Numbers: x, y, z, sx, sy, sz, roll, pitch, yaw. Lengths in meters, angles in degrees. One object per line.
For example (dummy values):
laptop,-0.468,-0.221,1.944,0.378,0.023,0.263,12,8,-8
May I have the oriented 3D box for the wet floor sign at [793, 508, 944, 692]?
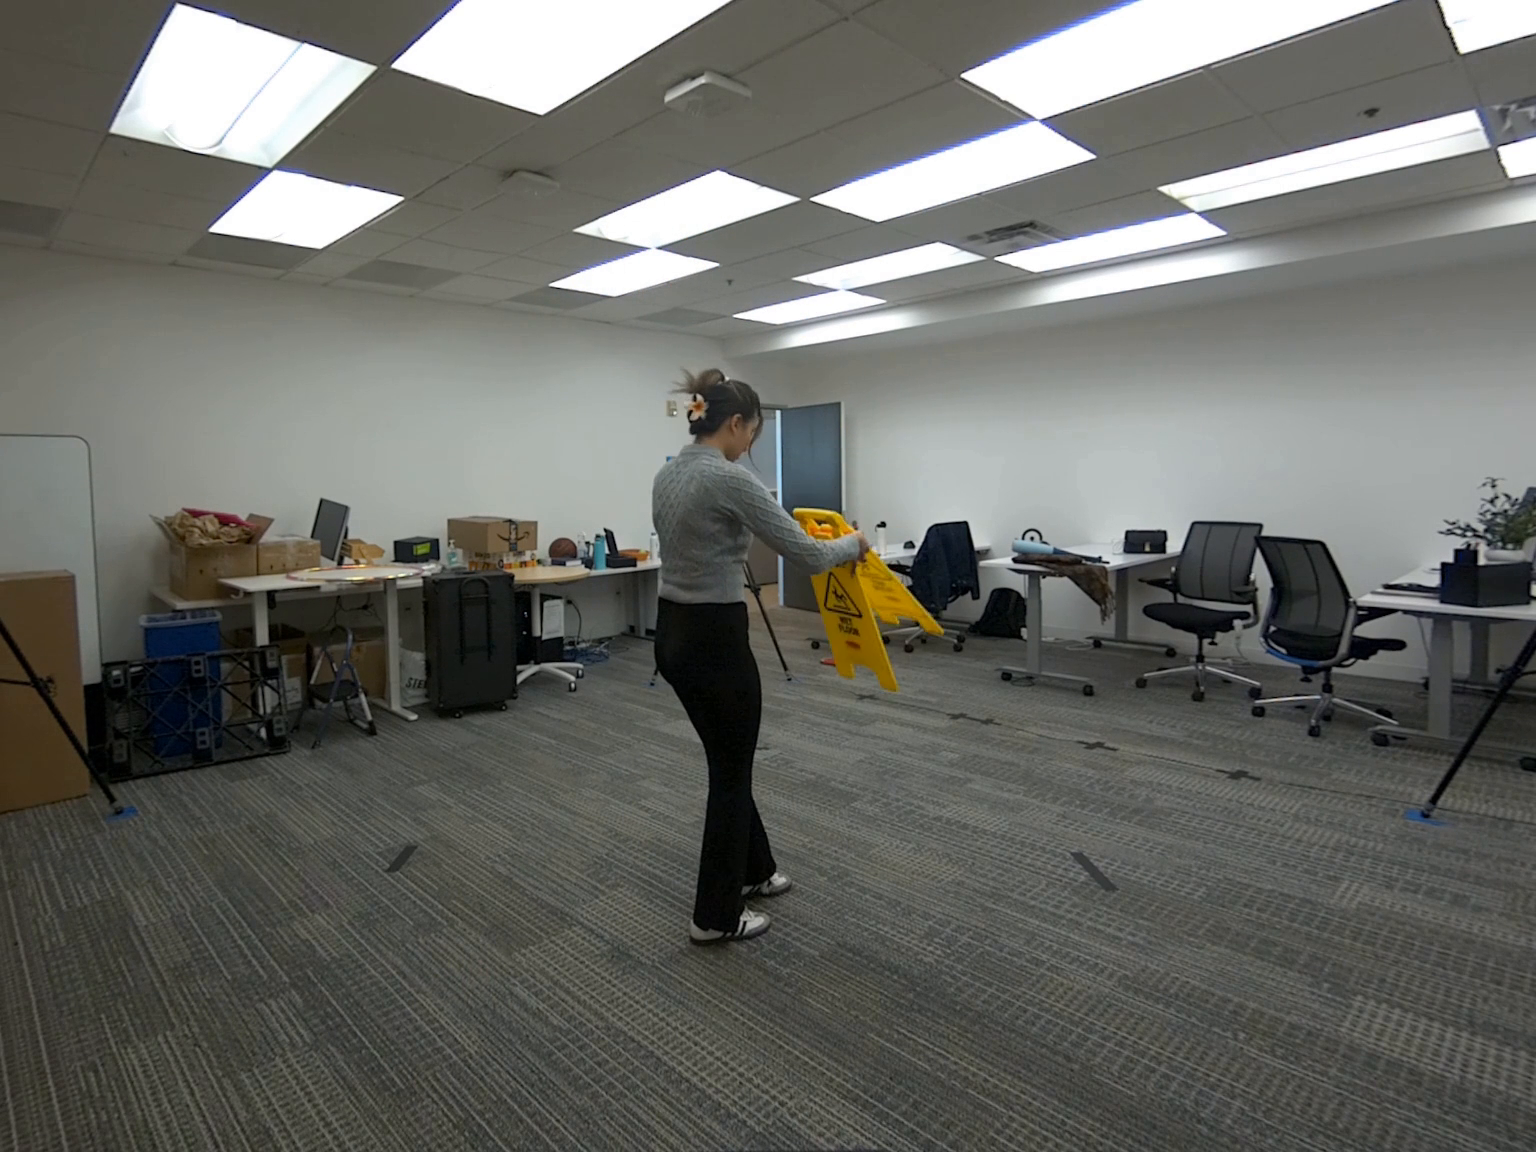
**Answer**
wet floor sign,0.294,0.031,2.872,0.289,0.627,0.291,-43,29,-26
